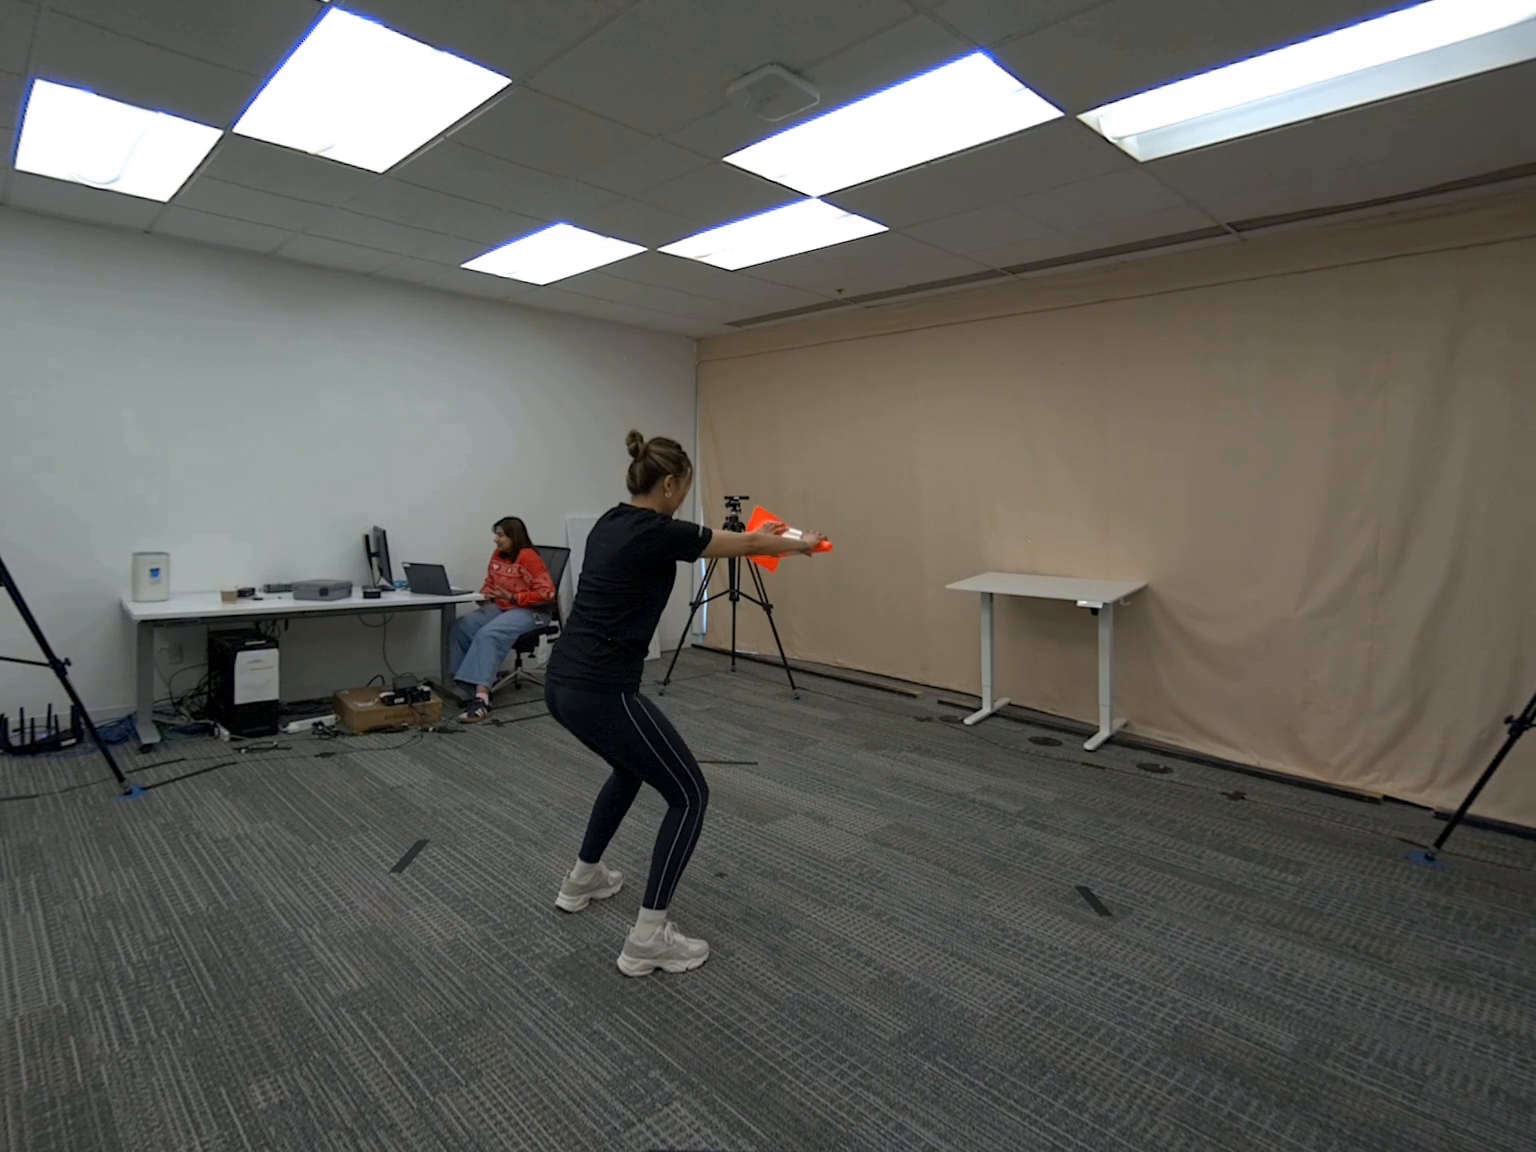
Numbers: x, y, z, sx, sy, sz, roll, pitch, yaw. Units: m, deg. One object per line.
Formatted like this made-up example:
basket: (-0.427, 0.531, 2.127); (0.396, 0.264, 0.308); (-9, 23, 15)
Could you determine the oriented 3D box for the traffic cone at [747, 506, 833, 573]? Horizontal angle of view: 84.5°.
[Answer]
traffic cone: (0.091, -0.111, 3.060); (0.197, 0.206, 0.393); (31, -12, -33)
